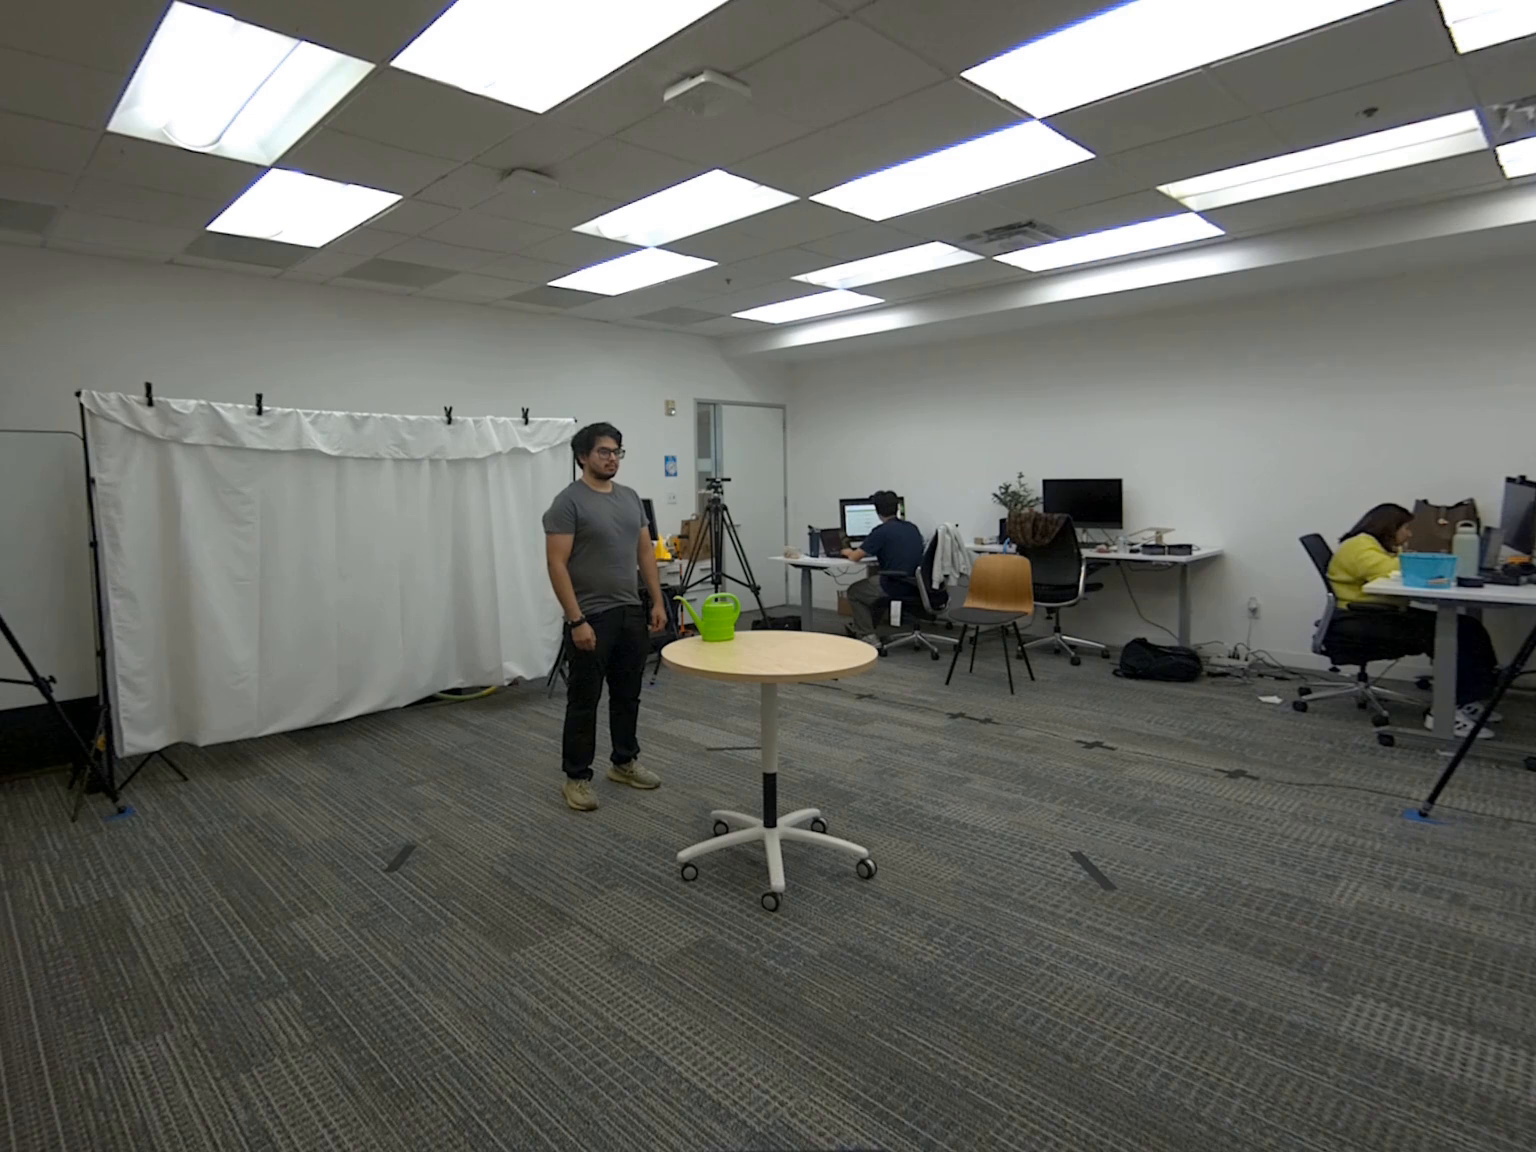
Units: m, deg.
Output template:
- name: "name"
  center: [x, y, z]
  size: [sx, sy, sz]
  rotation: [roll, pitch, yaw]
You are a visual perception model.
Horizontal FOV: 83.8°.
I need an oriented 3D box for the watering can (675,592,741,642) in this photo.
- name: "watering can"
  center: [-0.229, 0.157, 3.235]
  size: [0.274, 0.176, 0.100]
  rotation: [-1, 4, -16]
